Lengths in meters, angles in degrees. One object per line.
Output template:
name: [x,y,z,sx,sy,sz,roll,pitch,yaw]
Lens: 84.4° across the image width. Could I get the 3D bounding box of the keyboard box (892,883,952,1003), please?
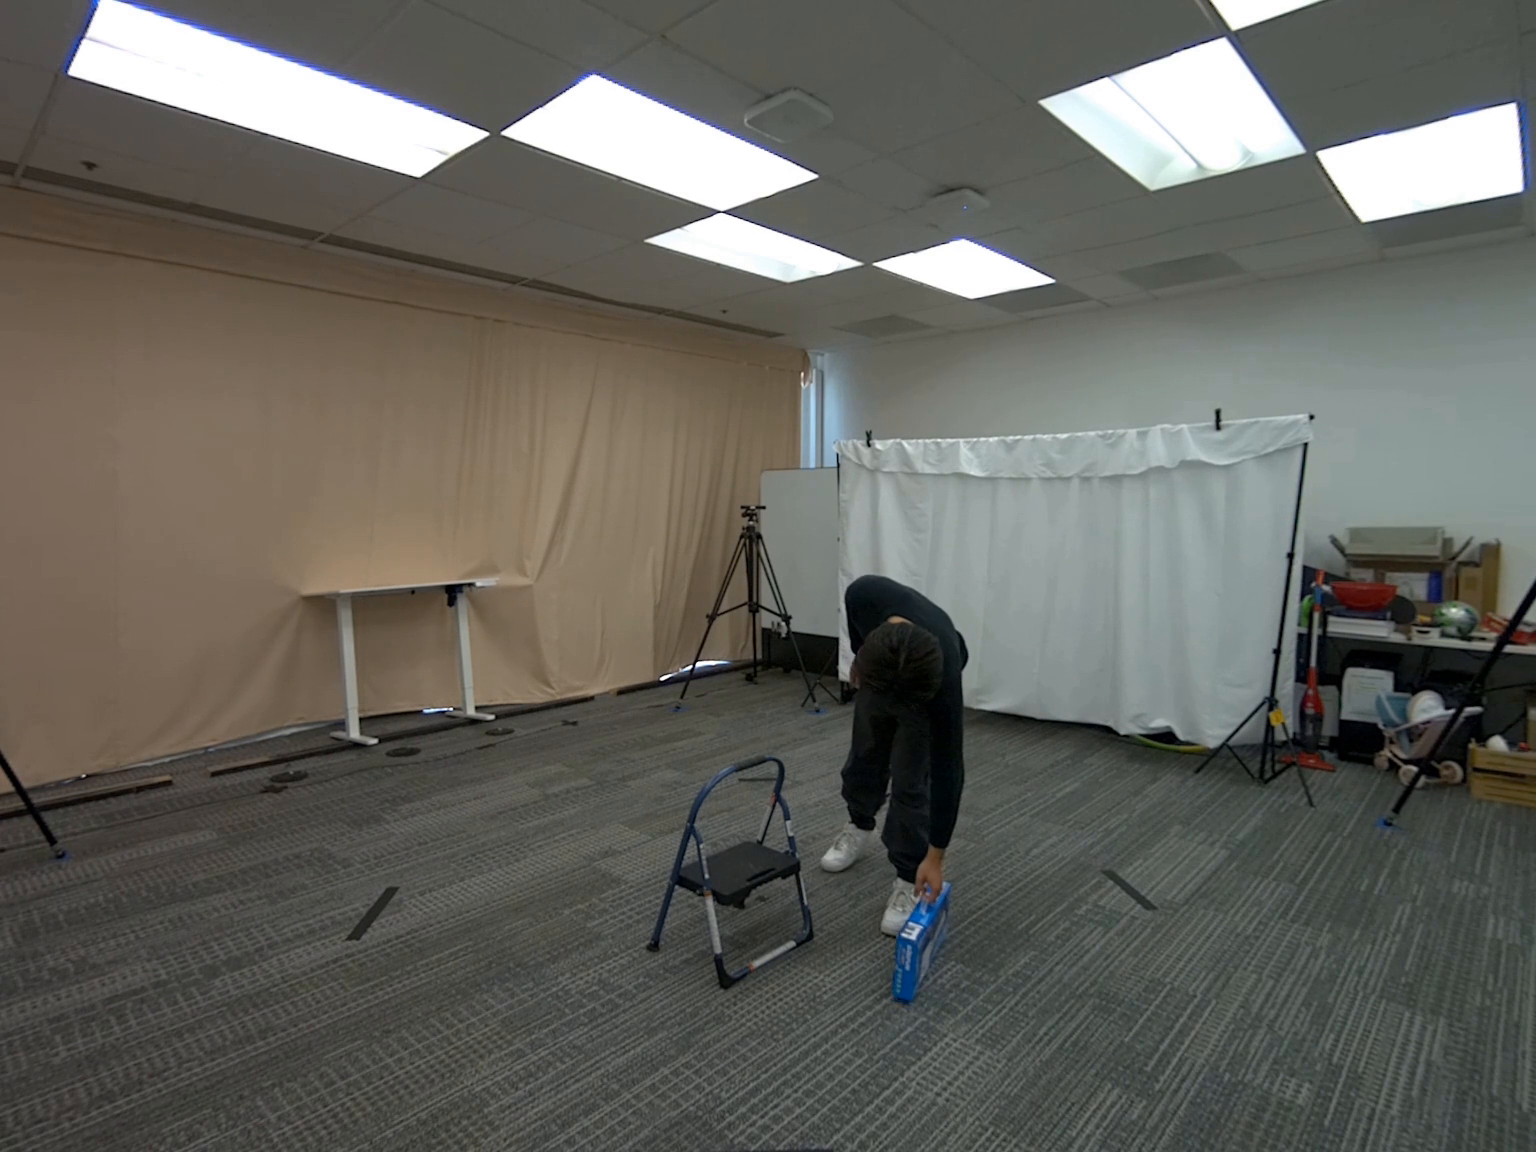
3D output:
keyboard box: [0.468,1.074,2.538,0.061,0.175,0.426,7,7,25]
